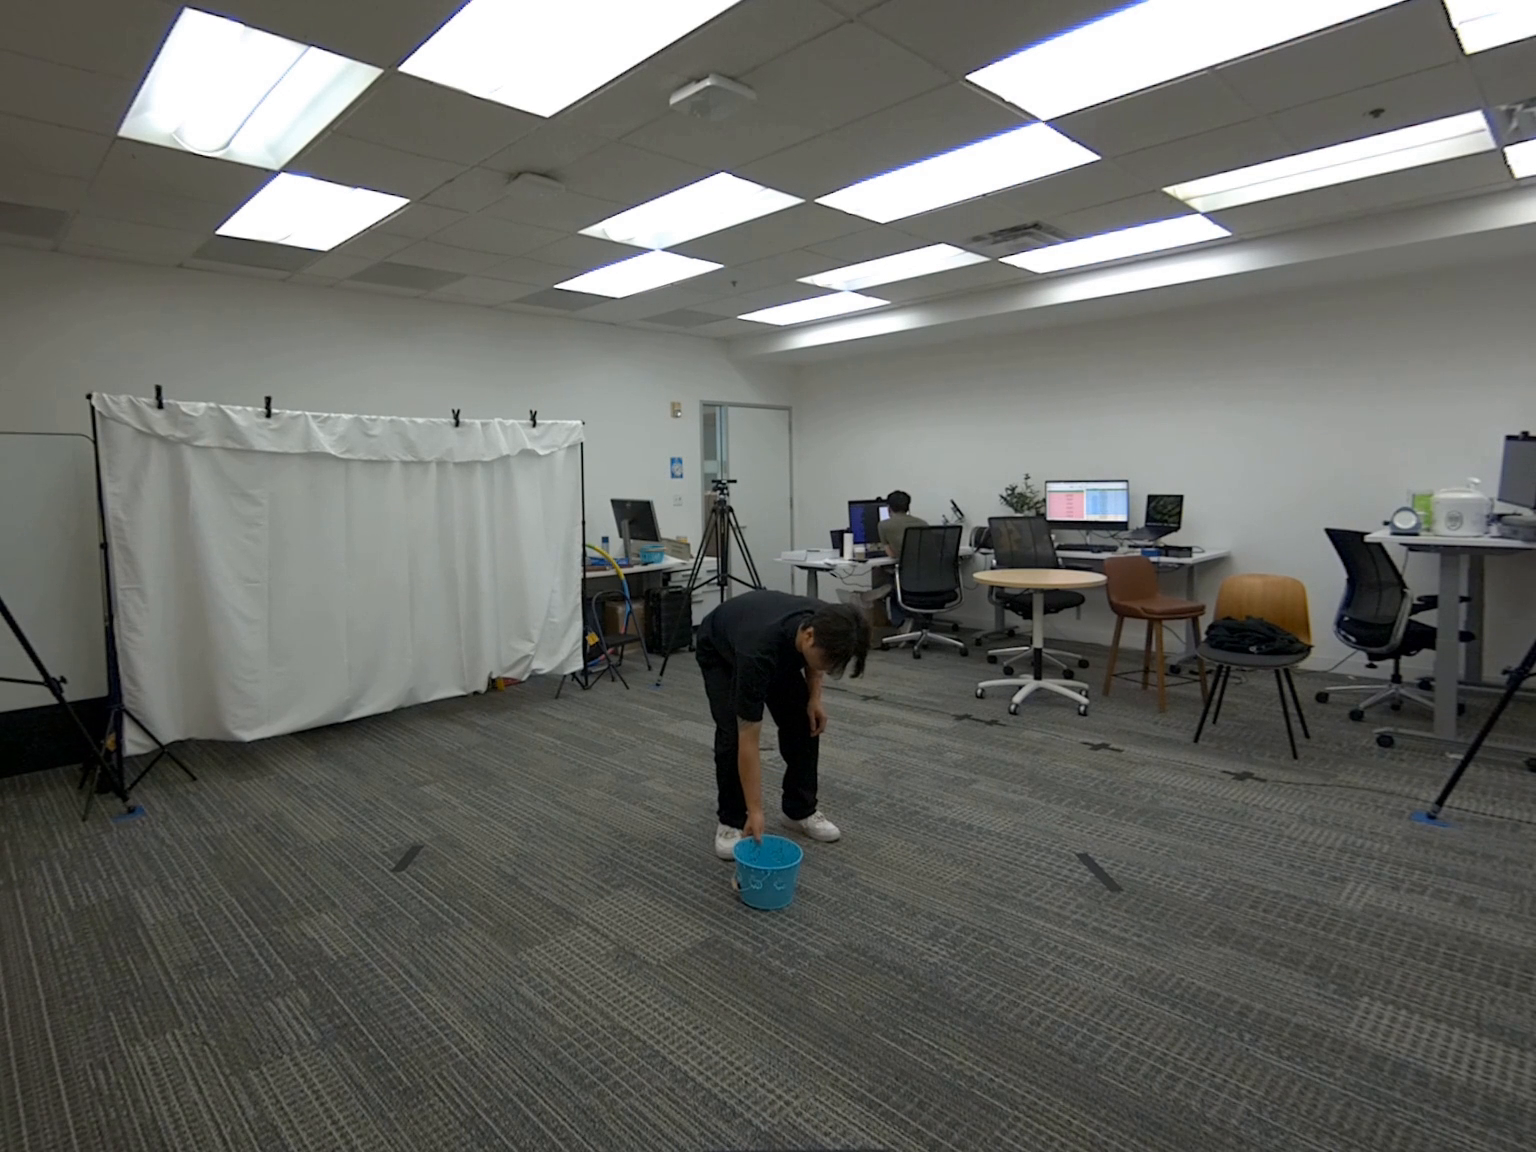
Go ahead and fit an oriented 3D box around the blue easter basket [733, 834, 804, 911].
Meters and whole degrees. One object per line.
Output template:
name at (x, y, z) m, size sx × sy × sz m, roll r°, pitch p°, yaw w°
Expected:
blue easter basket at (-0.002, 0.987, 2.851) m, size 0.243 × 0.155 × 0.246 m, roll 0°, pitch 9°, yaw -2°
